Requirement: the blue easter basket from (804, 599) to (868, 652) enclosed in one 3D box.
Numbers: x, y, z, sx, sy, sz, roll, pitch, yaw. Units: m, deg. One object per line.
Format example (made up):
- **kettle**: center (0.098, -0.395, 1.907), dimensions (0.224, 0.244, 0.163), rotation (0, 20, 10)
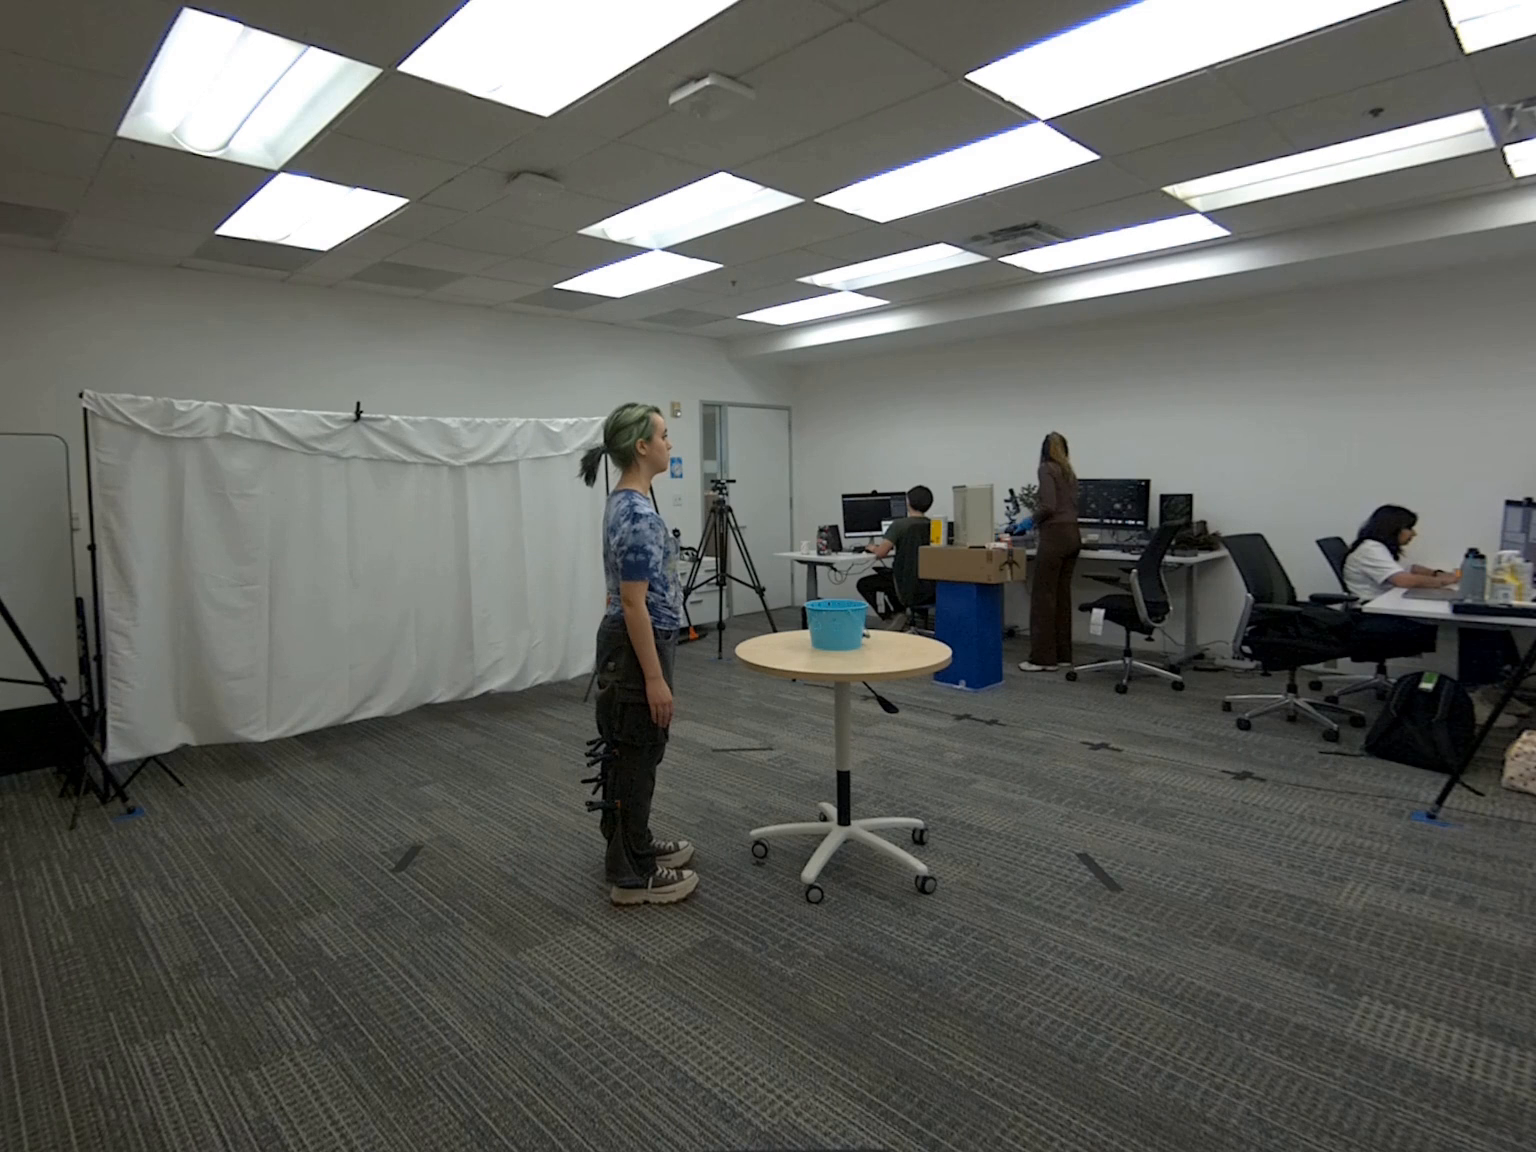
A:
- **blue easter basket**: center (0.259, 0.183, 3.113), dimensions (0.243, 0.155, 0.245), rotation (-1, 6, -2)
